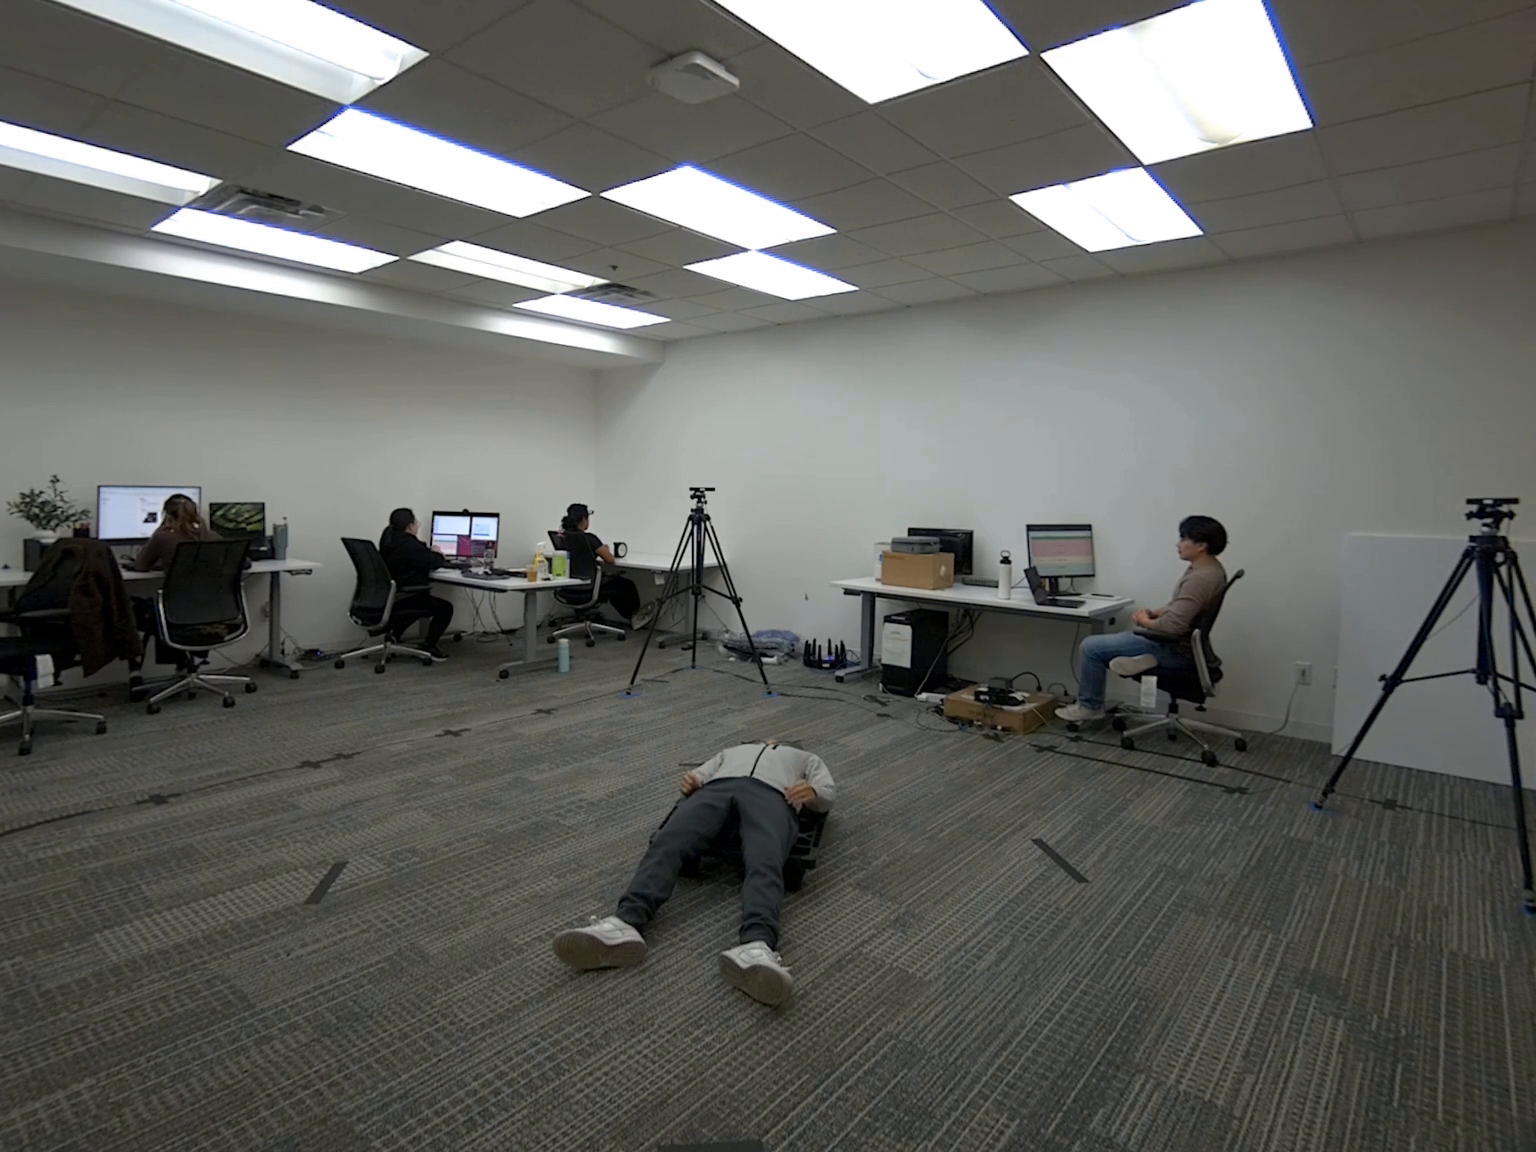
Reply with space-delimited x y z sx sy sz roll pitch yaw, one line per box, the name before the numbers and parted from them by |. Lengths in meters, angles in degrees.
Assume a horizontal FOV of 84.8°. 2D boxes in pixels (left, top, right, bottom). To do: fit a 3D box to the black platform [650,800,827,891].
black platform | -0.075 0.959 3.351 0.614 0.143 0.795 -1 3 13
